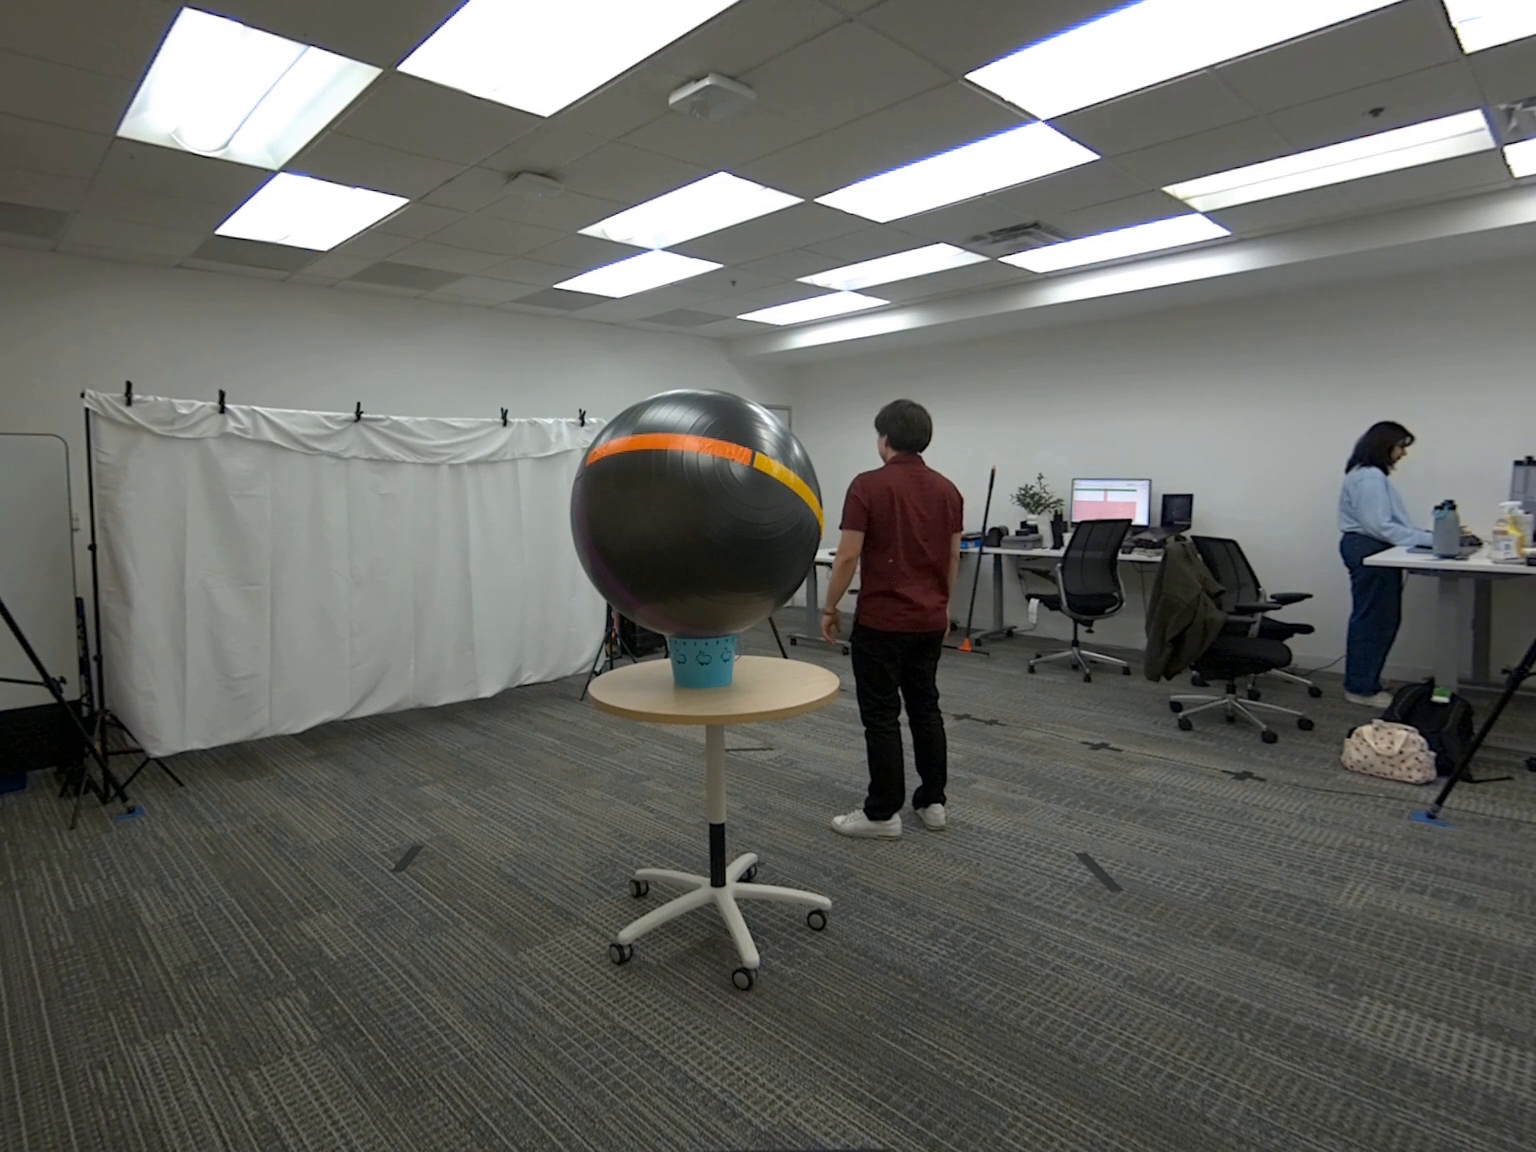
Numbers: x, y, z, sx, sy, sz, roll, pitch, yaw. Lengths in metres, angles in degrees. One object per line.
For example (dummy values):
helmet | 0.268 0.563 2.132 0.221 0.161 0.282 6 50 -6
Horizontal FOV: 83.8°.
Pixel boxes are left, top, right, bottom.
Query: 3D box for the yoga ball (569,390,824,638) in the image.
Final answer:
yoga ball | -0.213 -0.180 2.592 0.757 0.755 0.762 -1 5 -2
